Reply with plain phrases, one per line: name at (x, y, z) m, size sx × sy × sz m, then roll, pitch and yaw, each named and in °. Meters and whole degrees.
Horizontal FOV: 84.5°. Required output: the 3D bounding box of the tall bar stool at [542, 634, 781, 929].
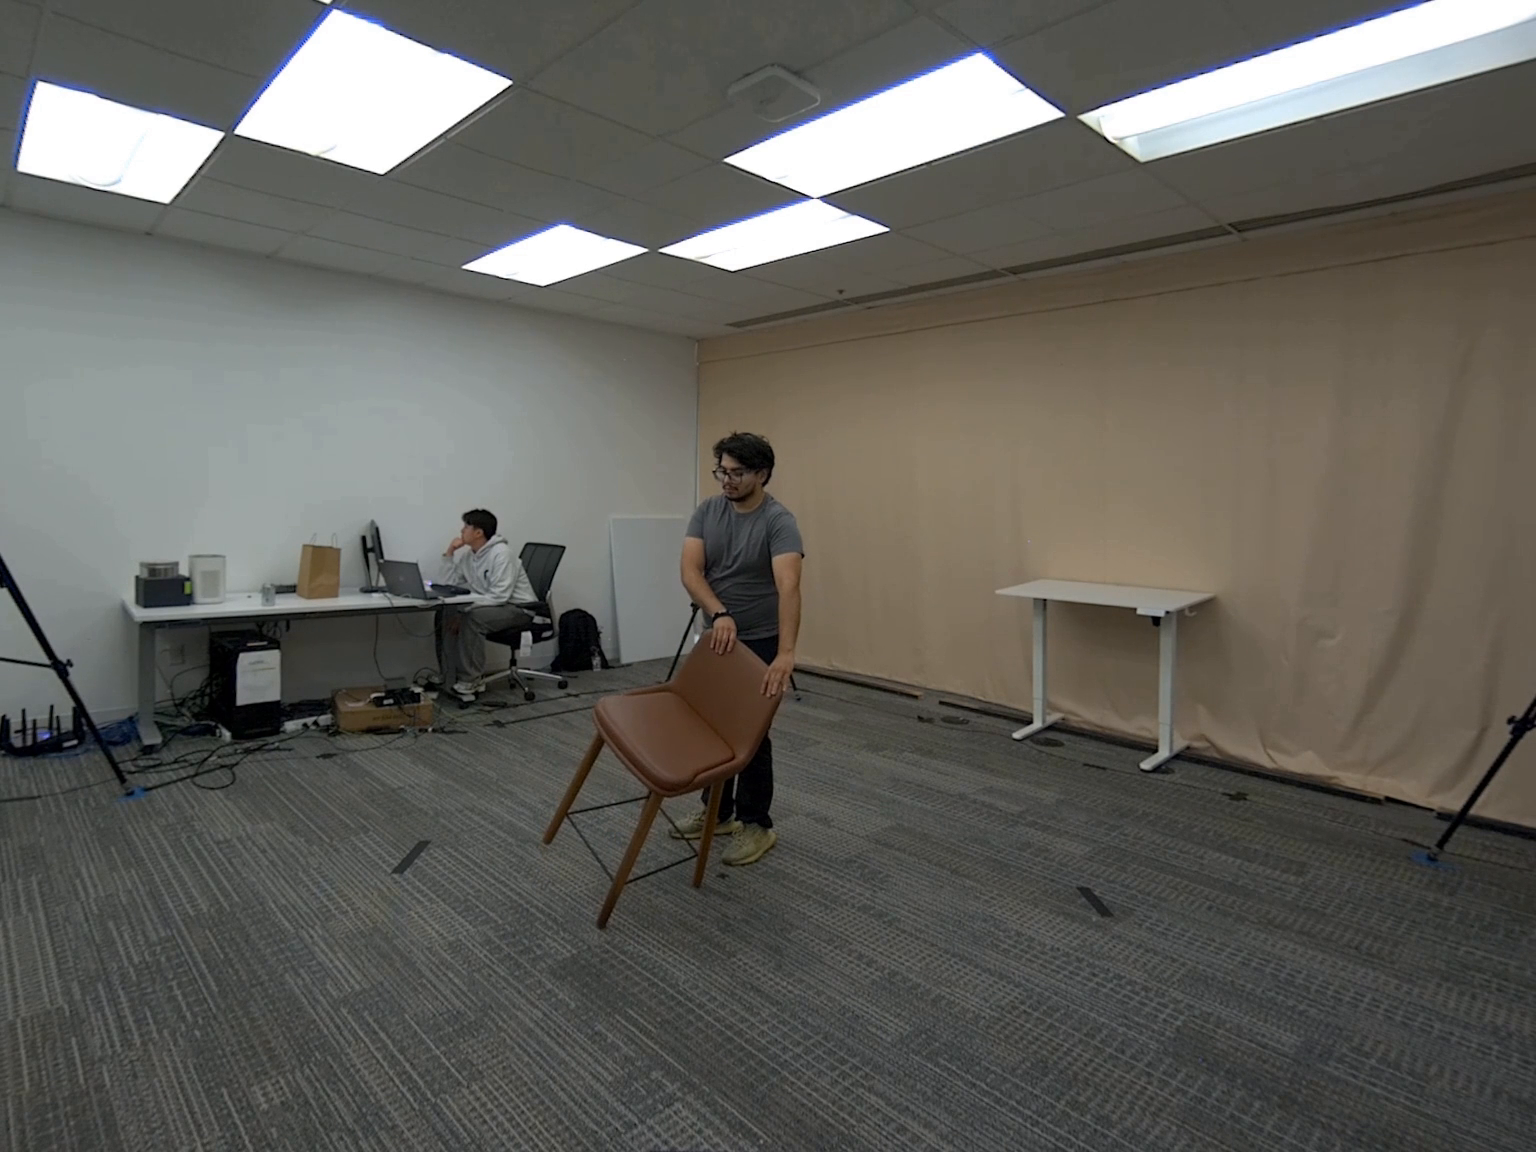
tall bar stool at (-0.366, 0.654, 2.831) m, size 0.456 × 0.883 × 0.471 m, roll 2°, pitch 27°, yaw -45°
